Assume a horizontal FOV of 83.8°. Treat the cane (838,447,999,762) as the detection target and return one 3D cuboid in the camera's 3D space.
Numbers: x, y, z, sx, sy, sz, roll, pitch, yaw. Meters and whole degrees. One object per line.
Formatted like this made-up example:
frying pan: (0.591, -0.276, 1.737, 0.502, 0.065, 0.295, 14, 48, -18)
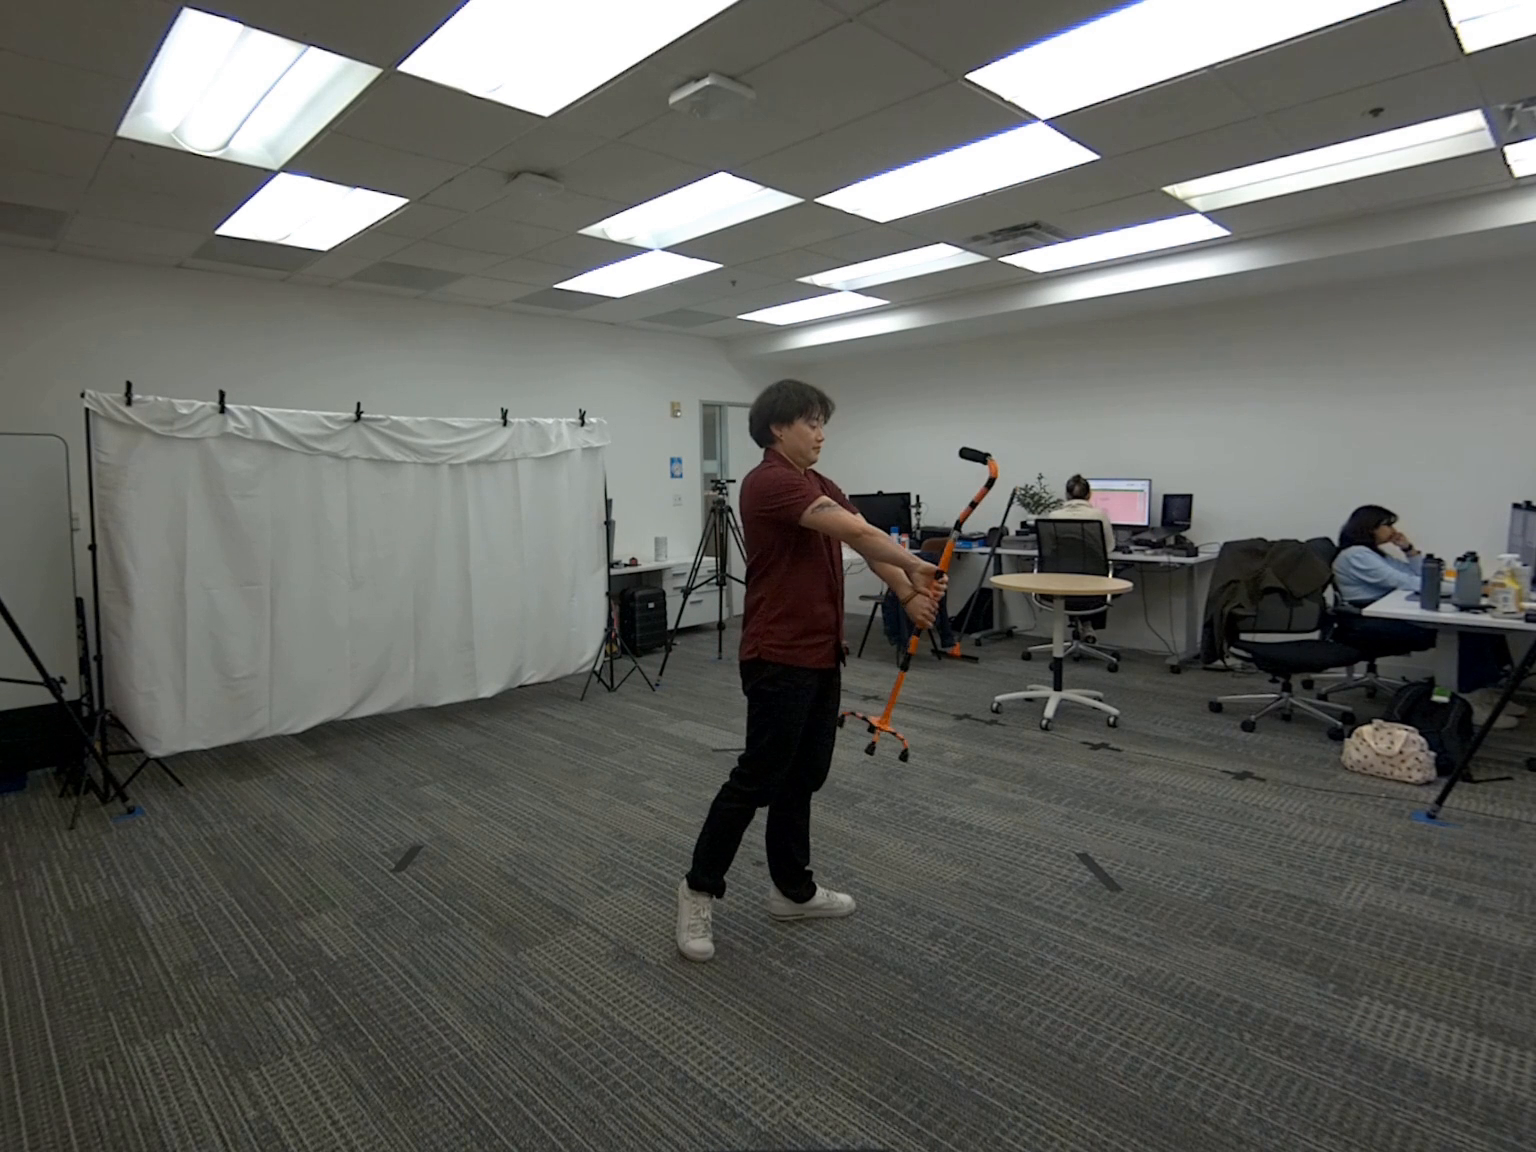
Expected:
cane: (0.464, 0.065, 2.480, 0.147, 0.905, 0.213, 16, 7, -31)
